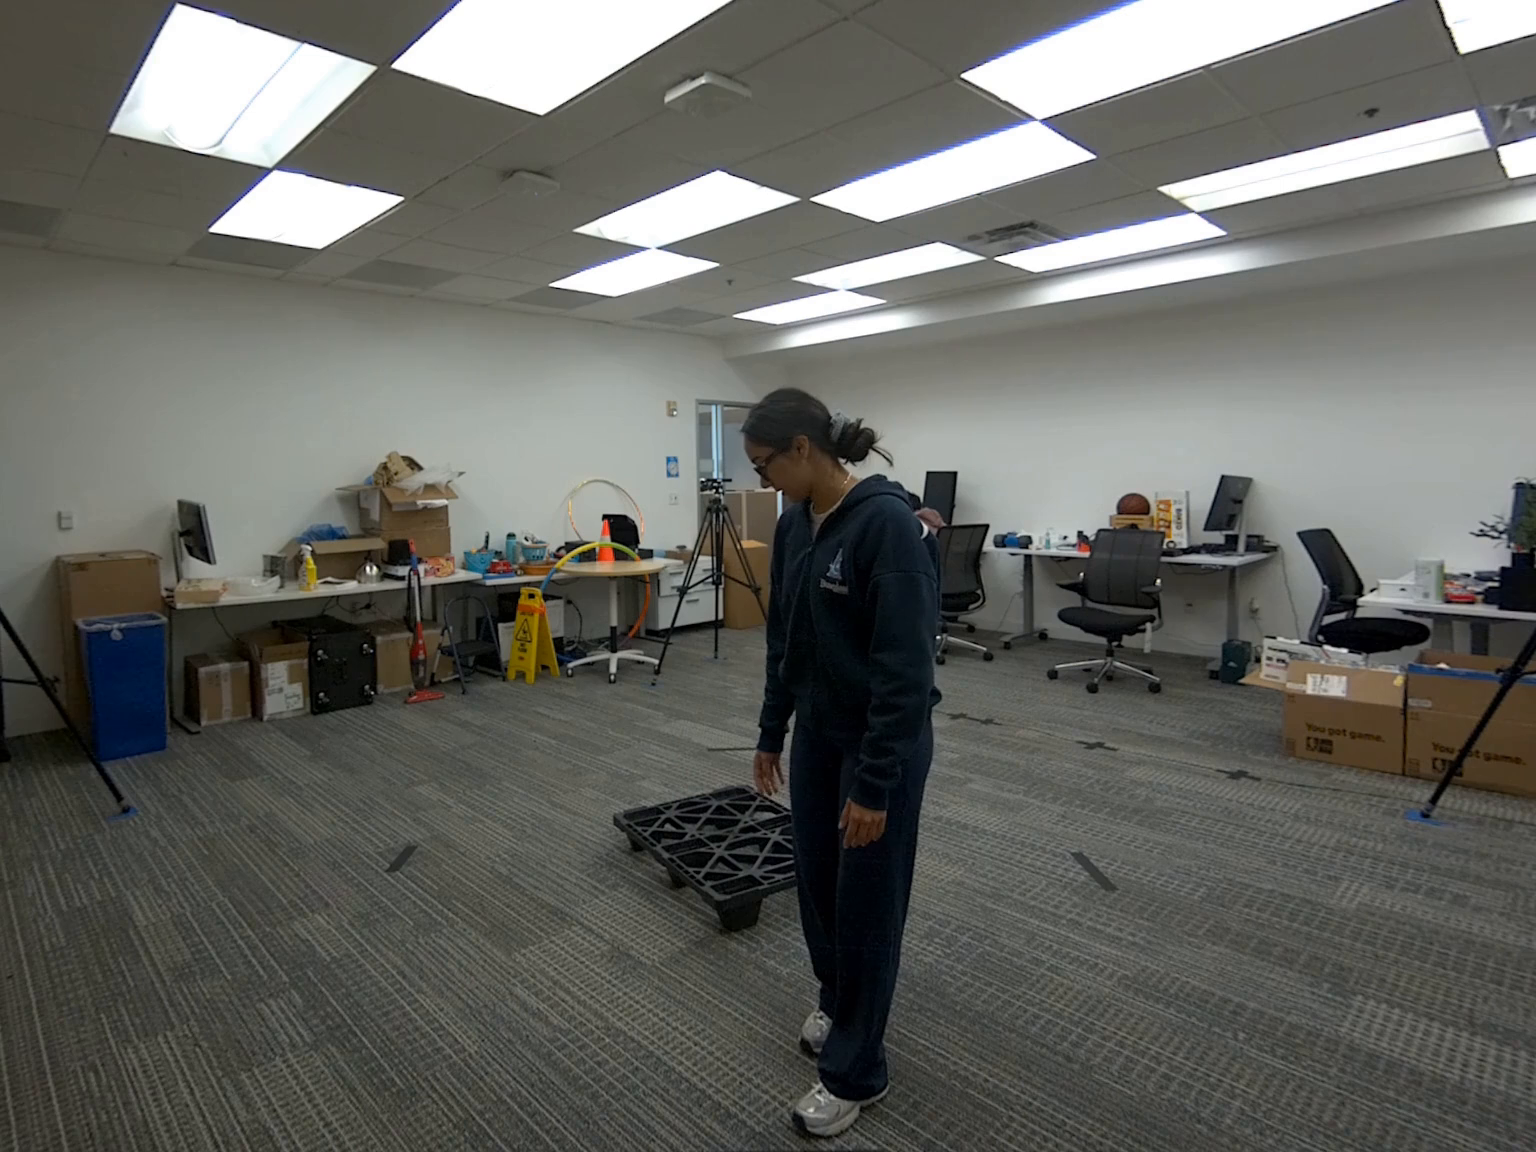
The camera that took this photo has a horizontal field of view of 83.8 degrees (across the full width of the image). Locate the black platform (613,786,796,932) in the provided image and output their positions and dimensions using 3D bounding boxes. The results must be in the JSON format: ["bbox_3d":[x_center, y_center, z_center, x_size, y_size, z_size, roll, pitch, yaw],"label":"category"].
[{"bbox_3d":[-0.123,0.985,3.054,0.591,0.142,0.829,-6,8,-32],"label":"black platform"}]
